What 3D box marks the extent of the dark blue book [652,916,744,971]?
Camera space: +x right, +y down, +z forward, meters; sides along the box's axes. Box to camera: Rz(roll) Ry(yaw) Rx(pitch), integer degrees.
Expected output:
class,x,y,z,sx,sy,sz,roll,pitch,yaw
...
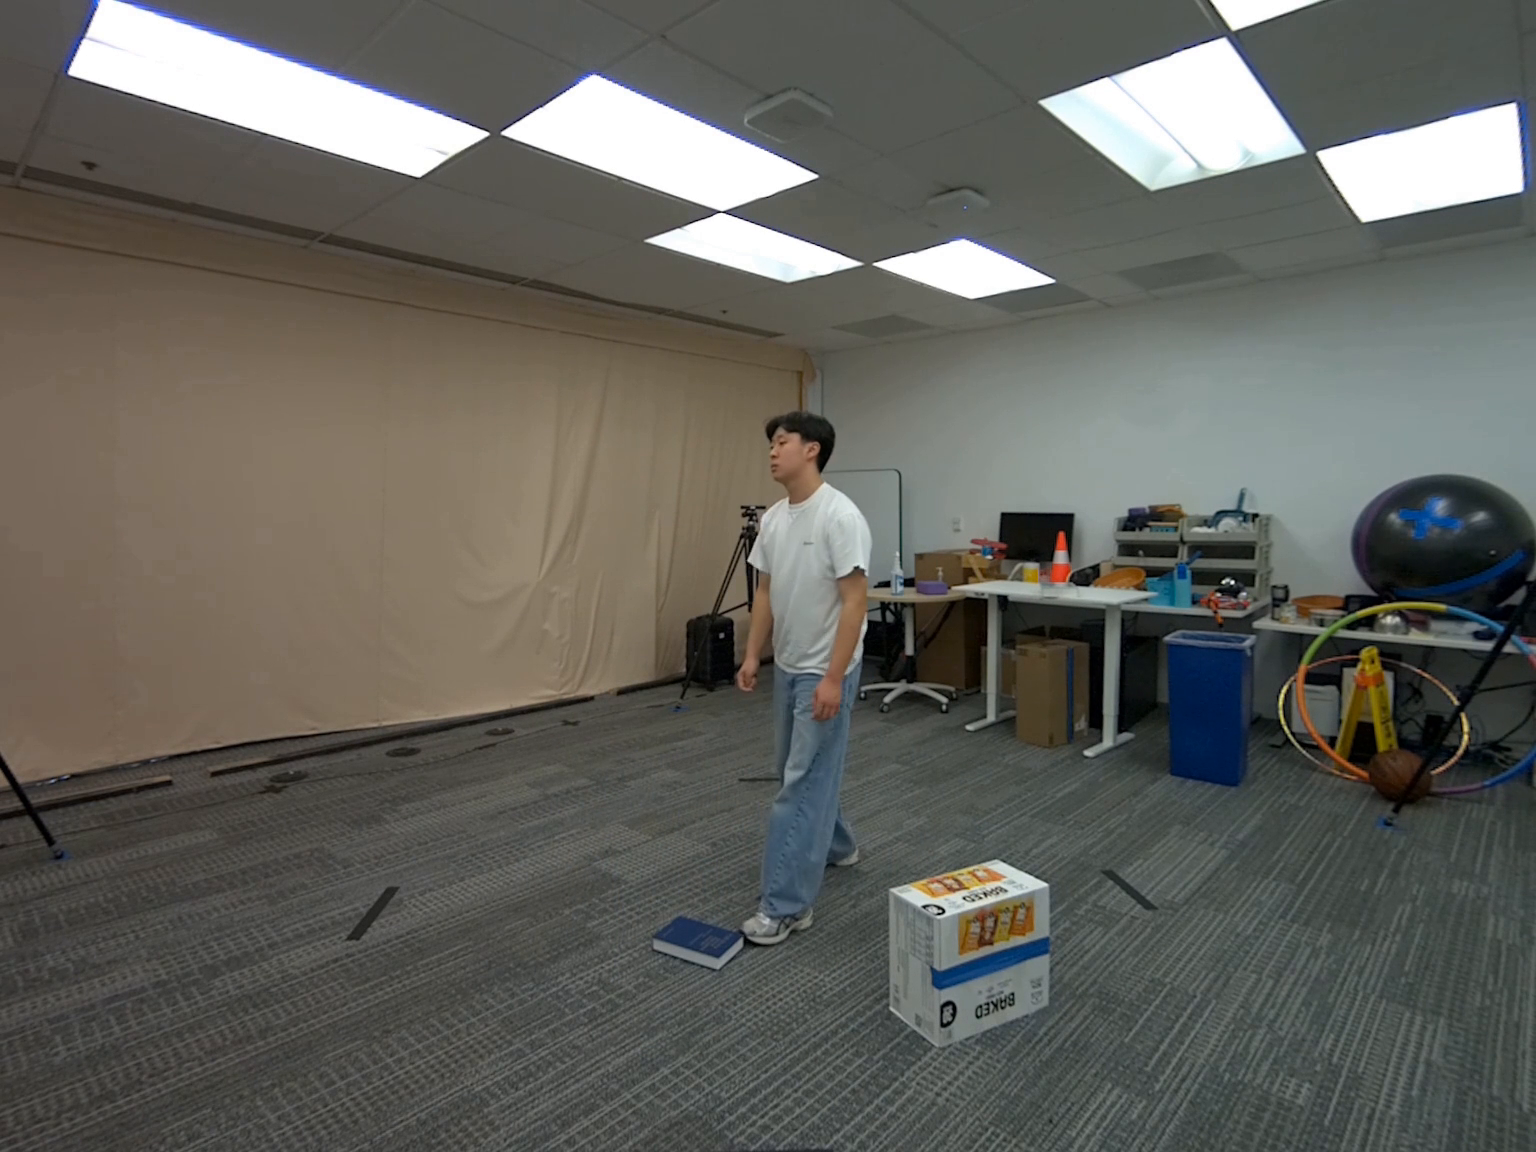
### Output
class,x,y,z,sx,sy,sz,roll,pitch,yaw
dark blue book,-0.218,1.152,2.637,0.252,0.045,0.159,2,6,29
